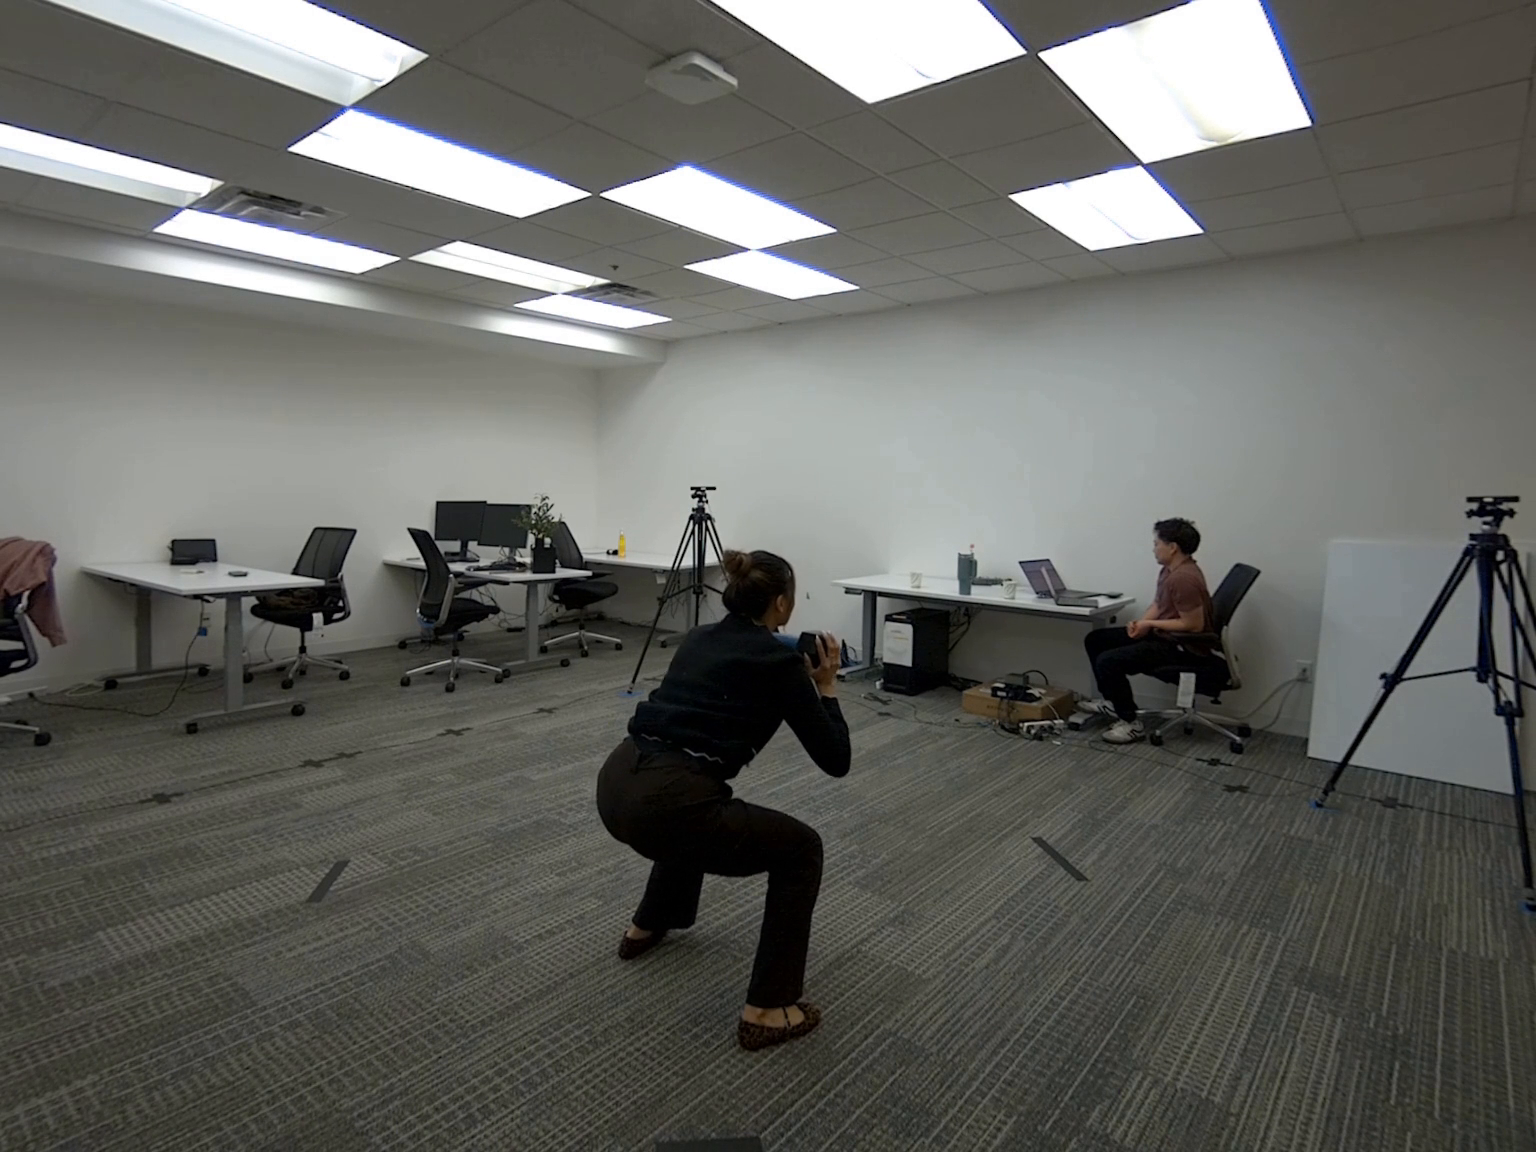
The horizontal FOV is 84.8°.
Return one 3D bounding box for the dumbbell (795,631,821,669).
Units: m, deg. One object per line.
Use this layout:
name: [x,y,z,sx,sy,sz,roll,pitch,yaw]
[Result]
dumbbell: [0.045,0.204,2.527,0.304,0.119,0.108,6,37,44]
